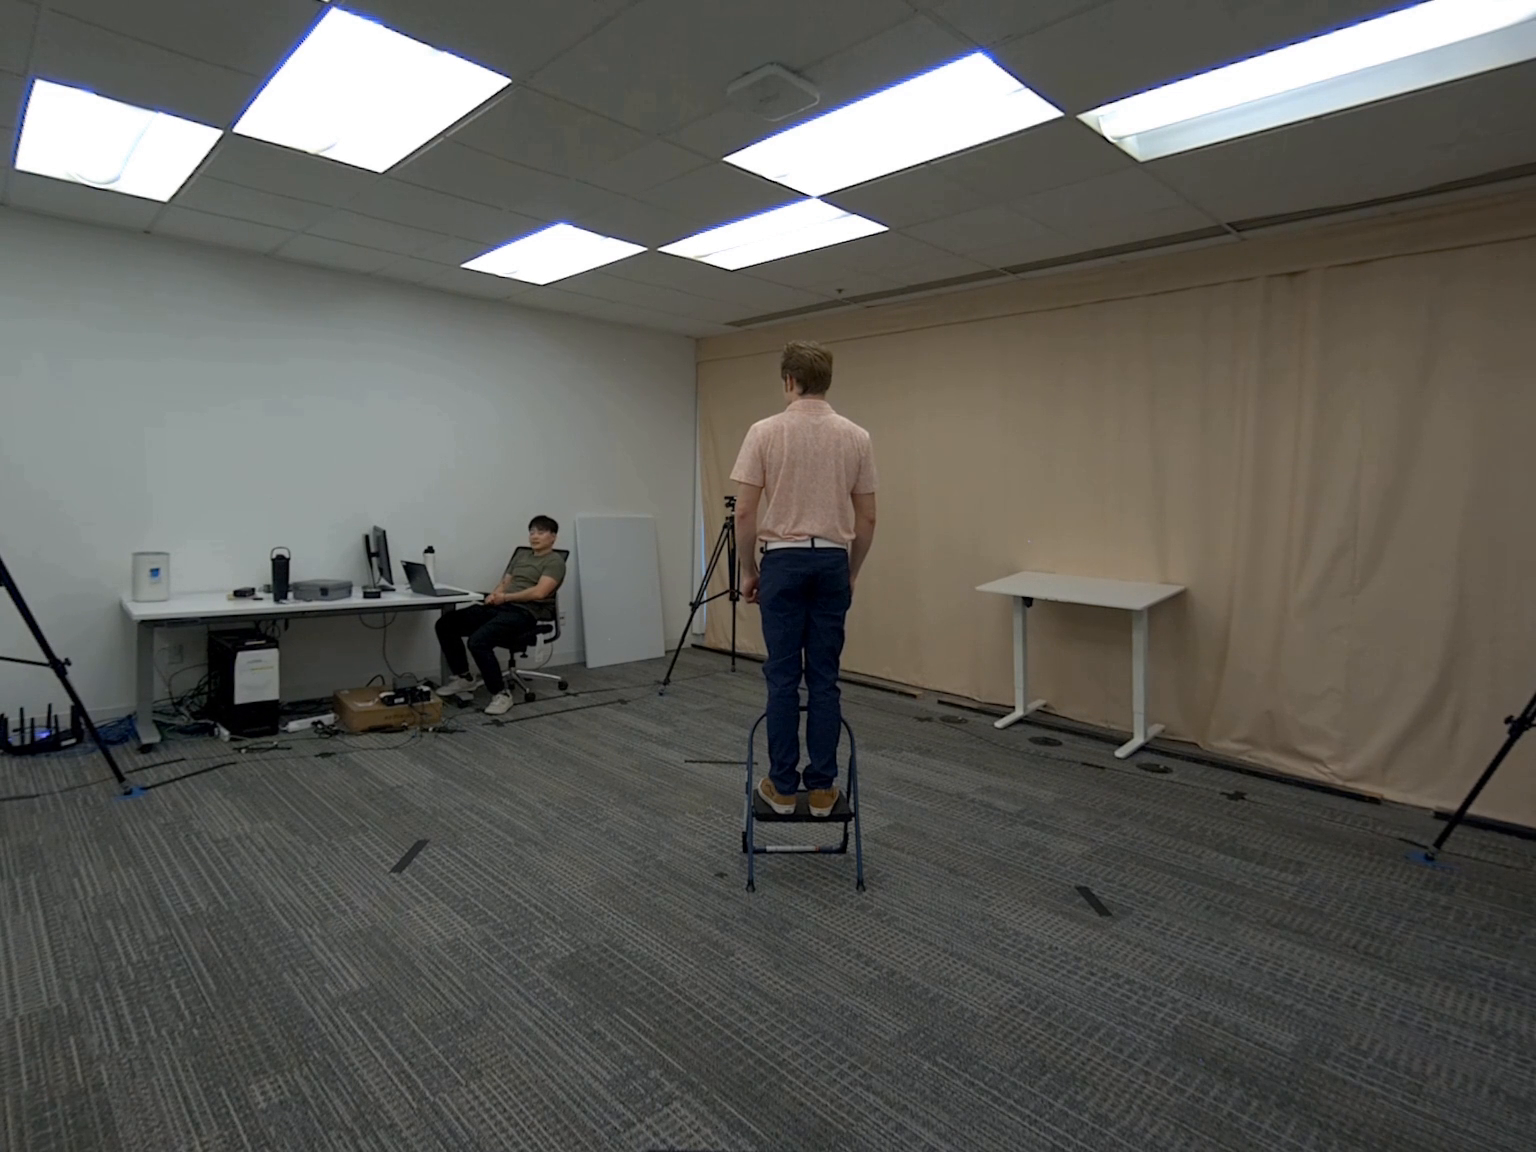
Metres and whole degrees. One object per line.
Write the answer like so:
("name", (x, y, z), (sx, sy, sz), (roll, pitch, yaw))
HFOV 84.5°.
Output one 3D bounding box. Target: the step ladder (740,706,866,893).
("step ladder", (0.122, 0.808, 3.148), (0.429, 0.604, 0.352), (1, 4, -5))
